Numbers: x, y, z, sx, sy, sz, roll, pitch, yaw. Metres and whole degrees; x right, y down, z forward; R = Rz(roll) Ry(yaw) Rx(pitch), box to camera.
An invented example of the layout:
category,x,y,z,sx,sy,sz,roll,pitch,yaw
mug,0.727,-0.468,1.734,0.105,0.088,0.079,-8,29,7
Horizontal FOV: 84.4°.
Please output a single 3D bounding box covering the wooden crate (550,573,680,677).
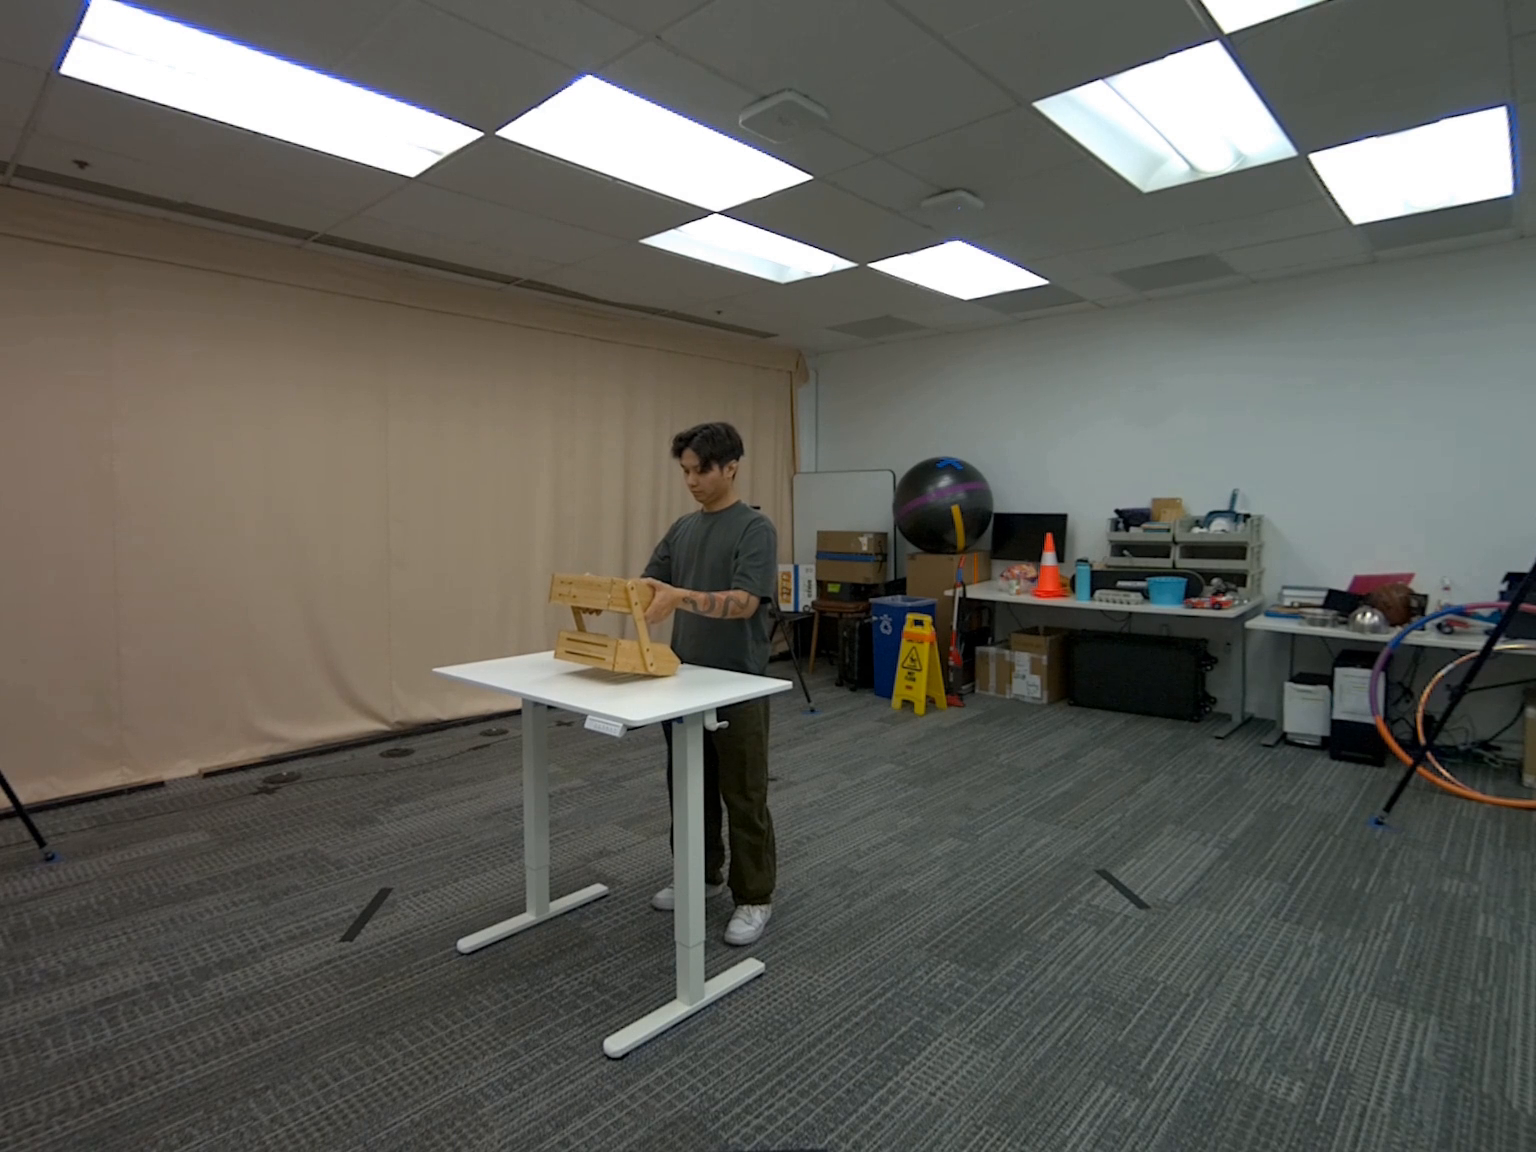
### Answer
category,x,y,z,sx,sy,sz,roll,pitch,yaw
wooden crate,-0.459,0.144,2.563,0.335,0.274,0.291,3,-5,44
